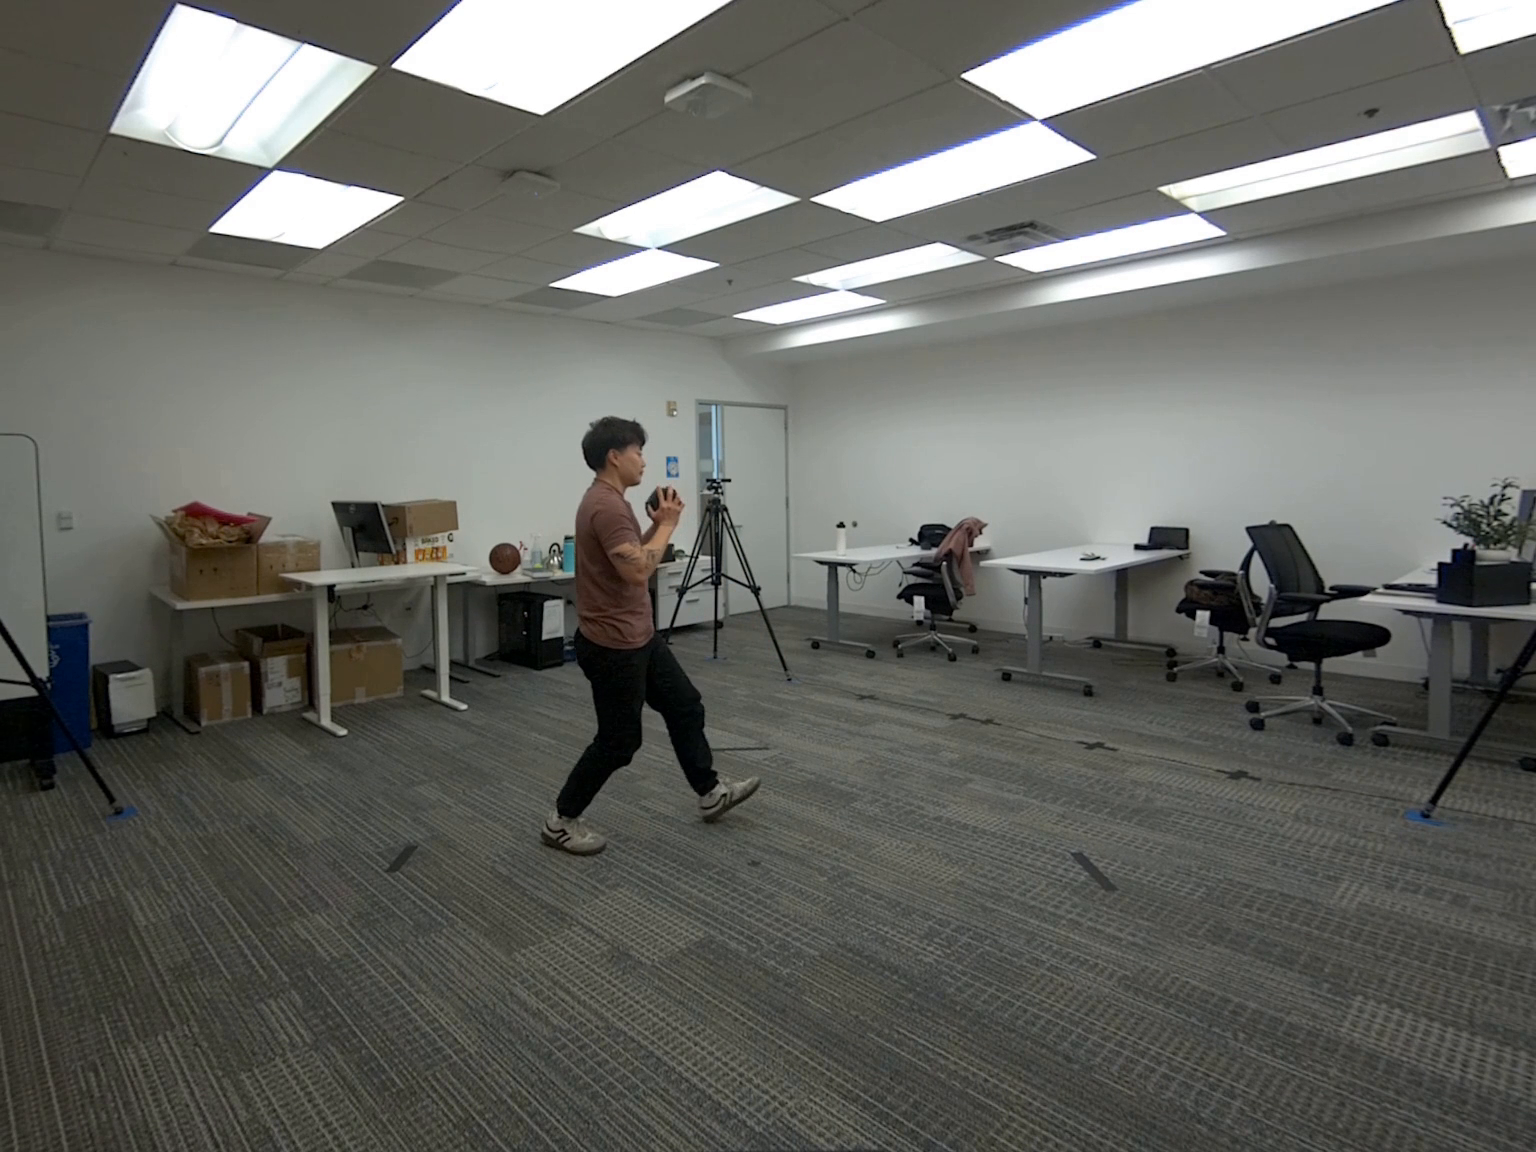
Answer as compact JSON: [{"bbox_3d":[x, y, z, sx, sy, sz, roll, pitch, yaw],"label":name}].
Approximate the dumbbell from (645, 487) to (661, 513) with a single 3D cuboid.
[{"bbox_3d":[-0.418,-0.274,3.287,0.123,0.108,0.295,1,3,-4],"label":"dumbbell"}]
